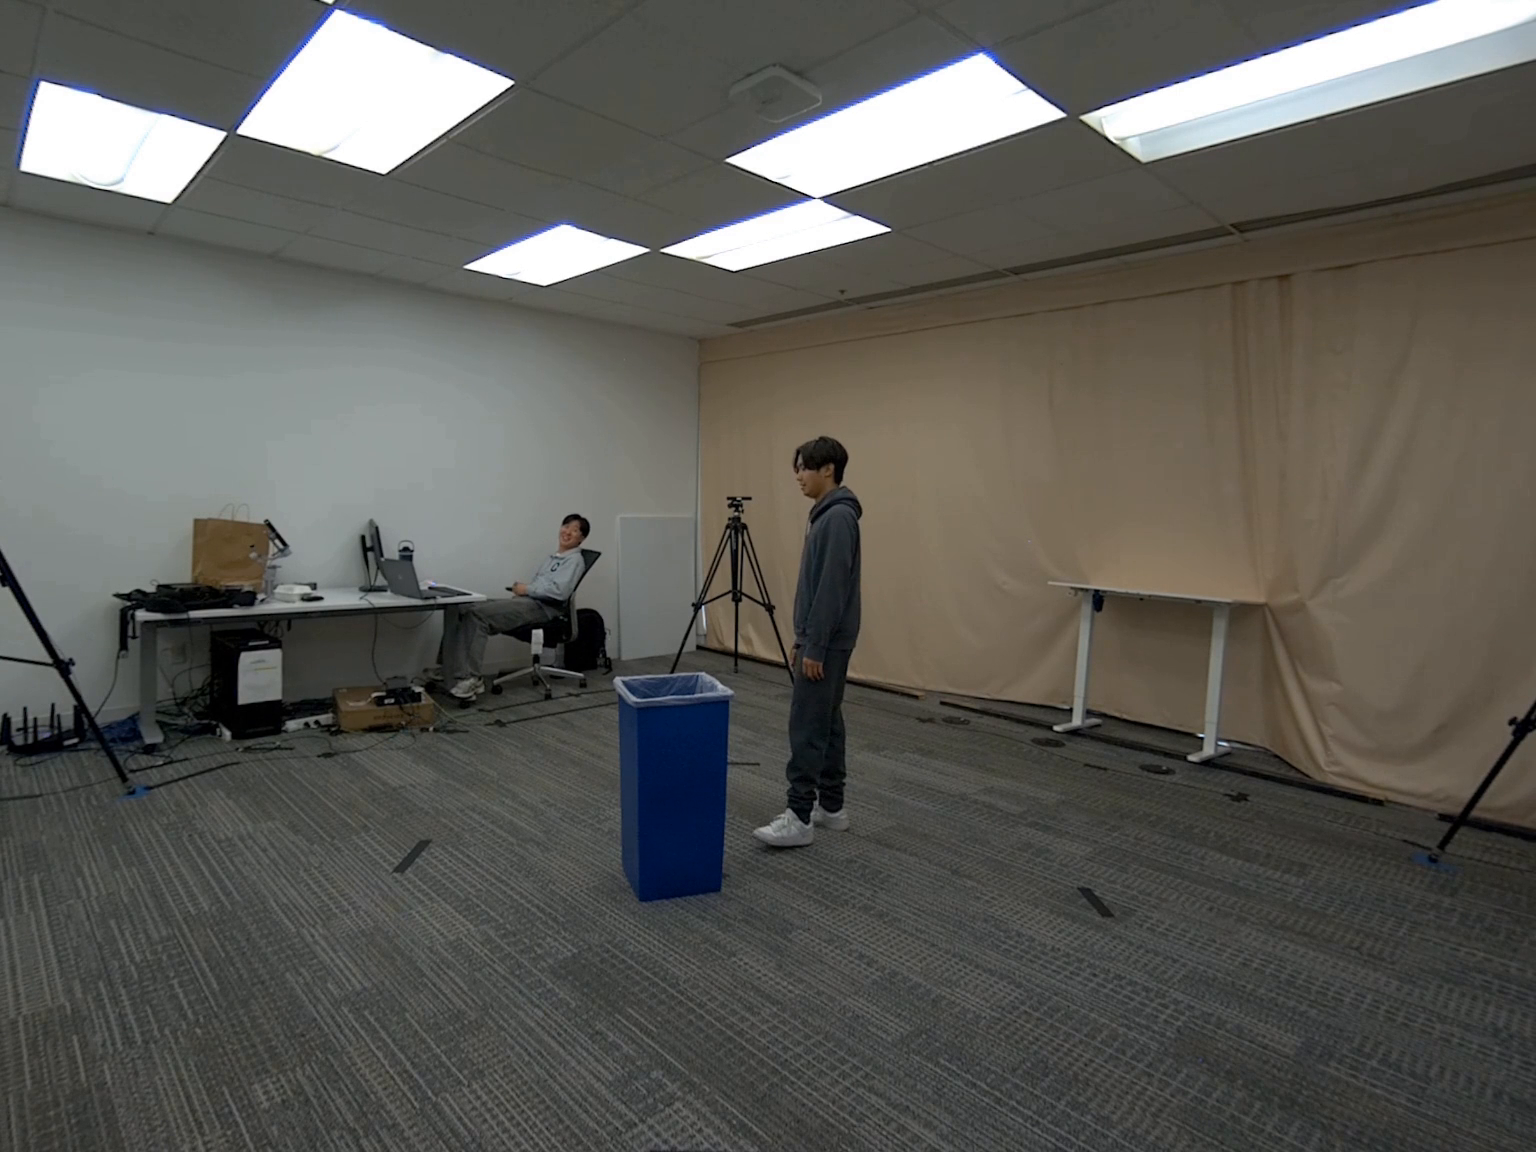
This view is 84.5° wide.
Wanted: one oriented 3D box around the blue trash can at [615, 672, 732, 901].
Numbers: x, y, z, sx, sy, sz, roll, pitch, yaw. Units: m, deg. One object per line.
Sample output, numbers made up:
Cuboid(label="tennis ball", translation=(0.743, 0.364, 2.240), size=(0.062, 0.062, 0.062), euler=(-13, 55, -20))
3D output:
Cuboid(label="blue trash can", translation=(-0.359, 0.748, 3.046), size=(0.368, 0.712, 0.385), euler=(0, 3, -21))
